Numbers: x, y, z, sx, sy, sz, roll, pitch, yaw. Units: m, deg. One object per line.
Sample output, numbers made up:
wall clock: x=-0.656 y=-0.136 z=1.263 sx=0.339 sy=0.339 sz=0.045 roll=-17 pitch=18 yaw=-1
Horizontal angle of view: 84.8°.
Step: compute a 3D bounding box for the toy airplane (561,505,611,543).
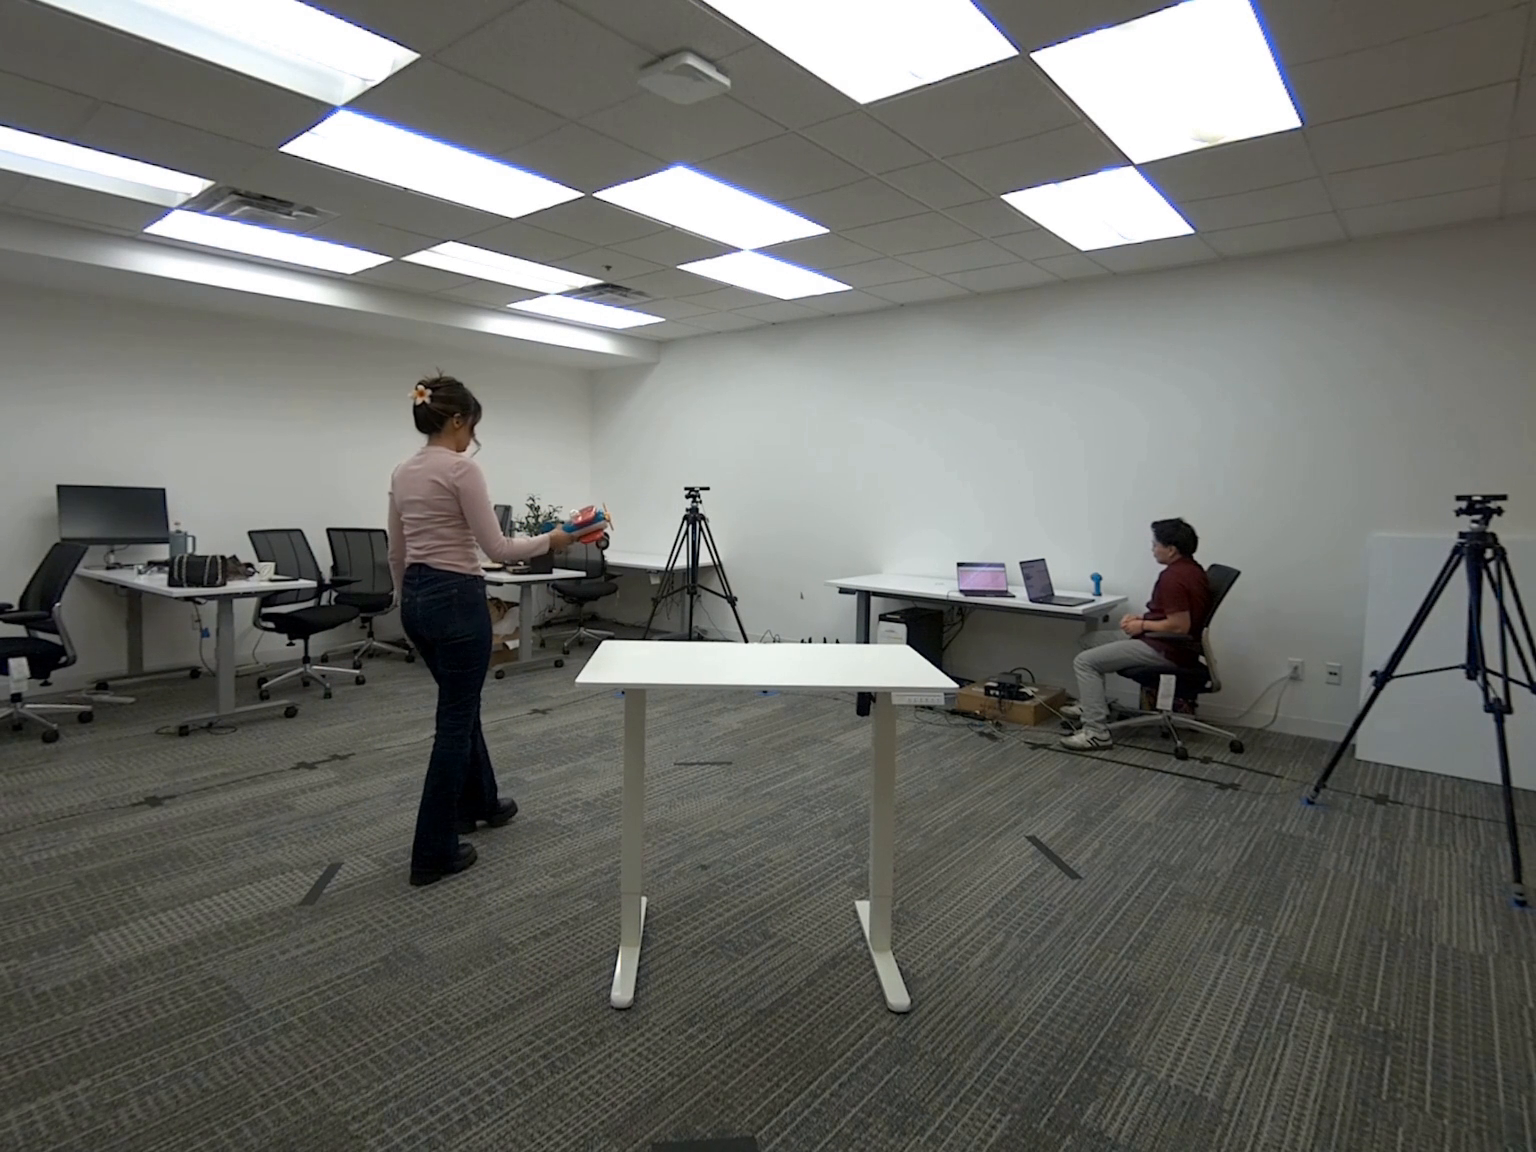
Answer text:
toy airplane: x=-0.742 y=-0.175 z=3.283 sx=0.254 sy=0.154 sz=0.260 roll=-16 pitch=19 yaw=-31
